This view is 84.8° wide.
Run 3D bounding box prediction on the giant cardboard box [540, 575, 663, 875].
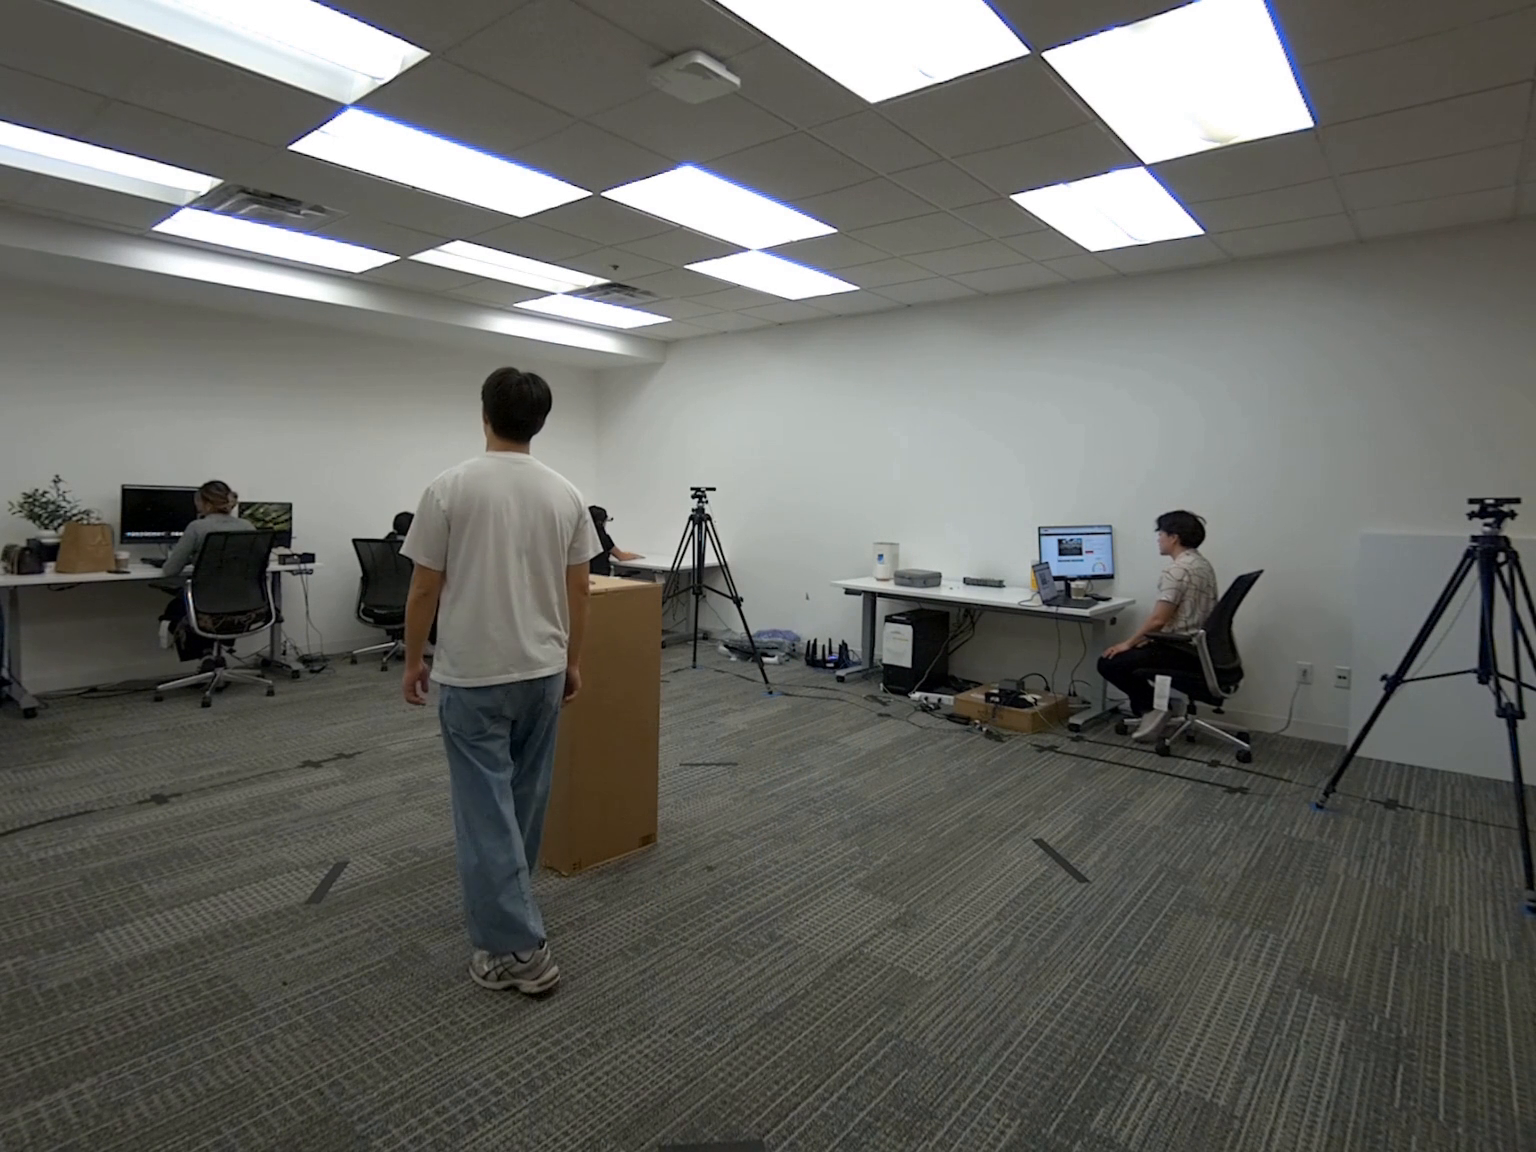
[{"bbox_3d":[-0.776,0.525,3.330,0.597,1.023,0.413,5,4,44],"label":"giant cardboard box"}]
